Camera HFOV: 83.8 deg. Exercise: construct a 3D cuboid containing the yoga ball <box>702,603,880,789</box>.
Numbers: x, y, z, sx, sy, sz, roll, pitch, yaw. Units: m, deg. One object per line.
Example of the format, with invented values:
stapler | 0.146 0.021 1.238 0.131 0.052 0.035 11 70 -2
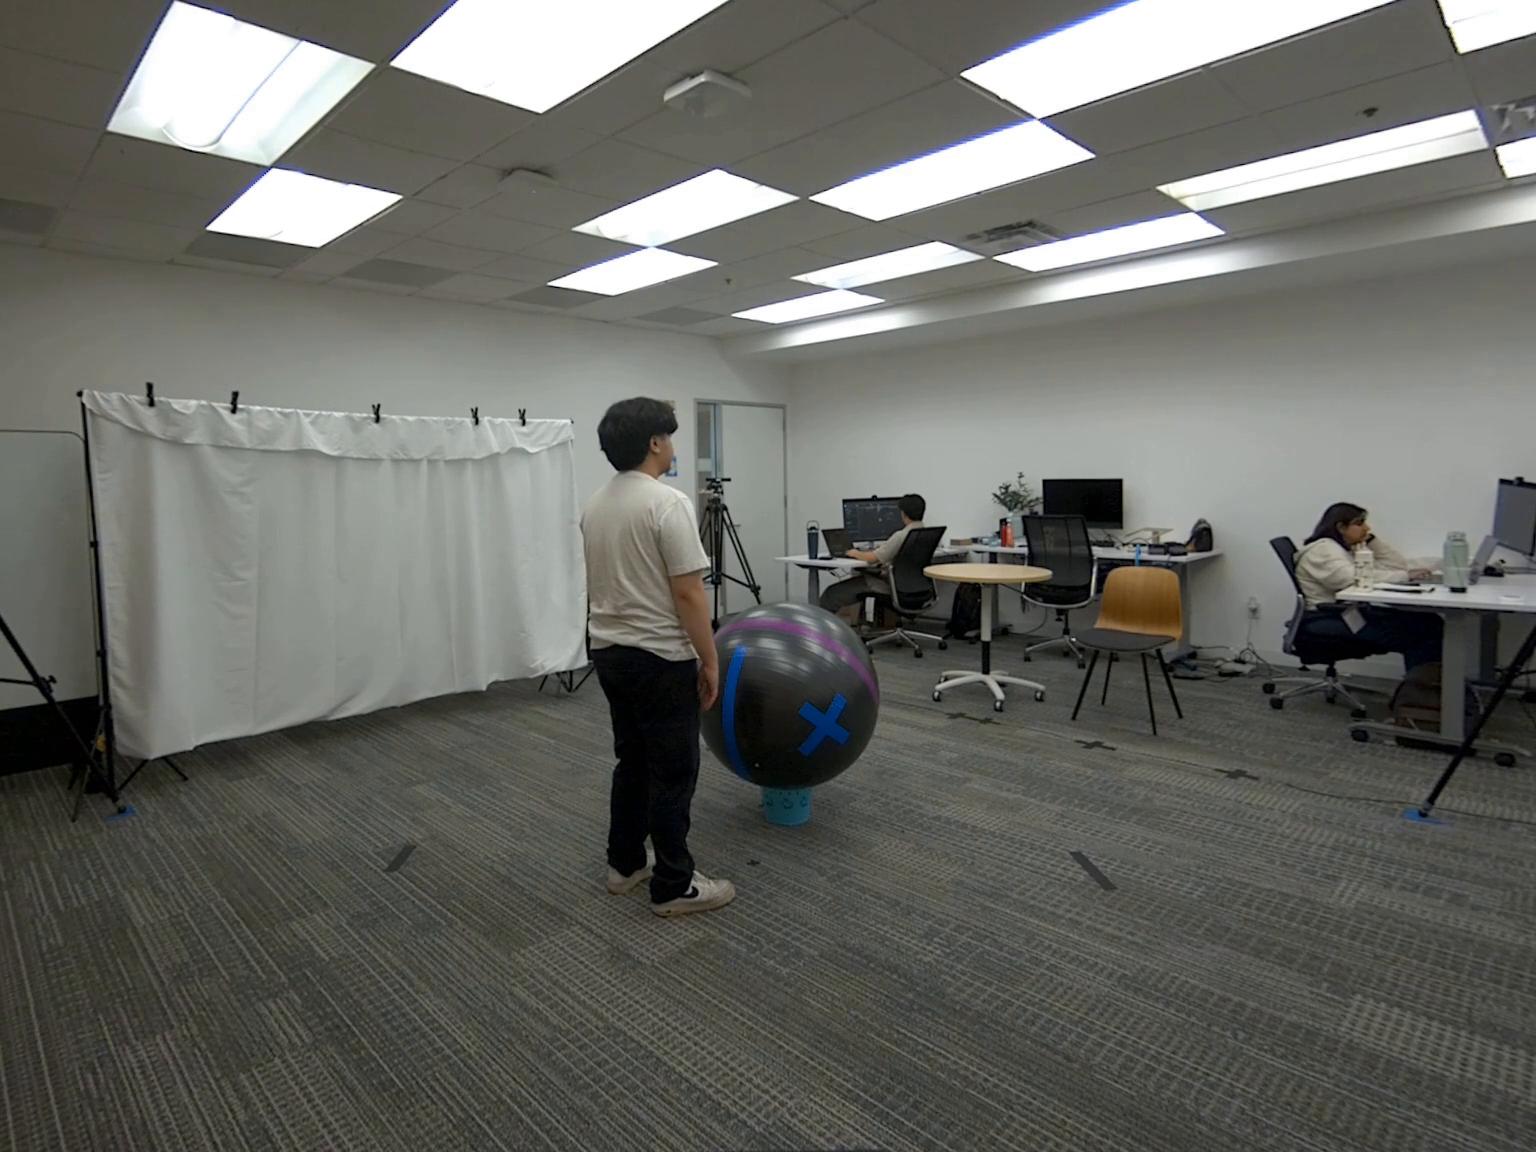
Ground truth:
yoga ball | 0.076 0.487 3.497 0.757 0.755 0.762 -1 5 -2
